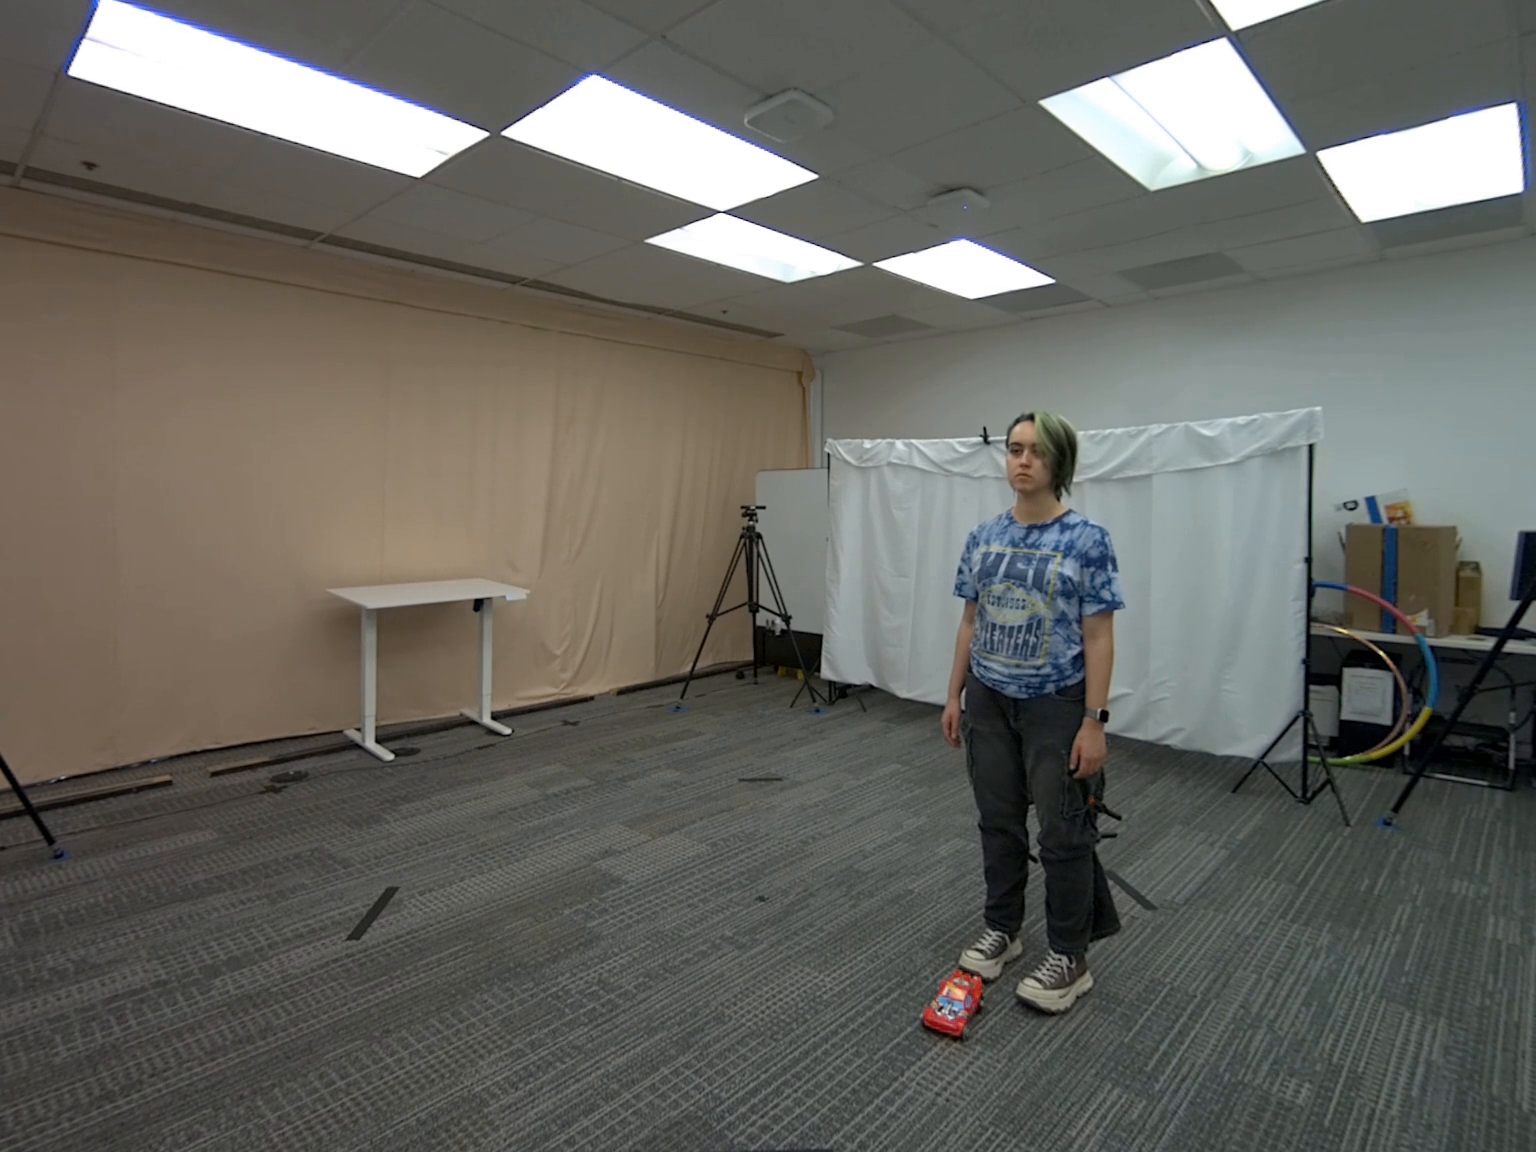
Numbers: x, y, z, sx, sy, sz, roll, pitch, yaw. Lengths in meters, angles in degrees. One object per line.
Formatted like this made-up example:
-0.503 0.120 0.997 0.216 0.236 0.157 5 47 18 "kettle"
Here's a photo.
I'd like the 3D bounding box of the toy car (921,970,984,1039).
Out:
0.519 1.172 2.297 0.134 0.082 0.249 1 15 31 "toy car"
